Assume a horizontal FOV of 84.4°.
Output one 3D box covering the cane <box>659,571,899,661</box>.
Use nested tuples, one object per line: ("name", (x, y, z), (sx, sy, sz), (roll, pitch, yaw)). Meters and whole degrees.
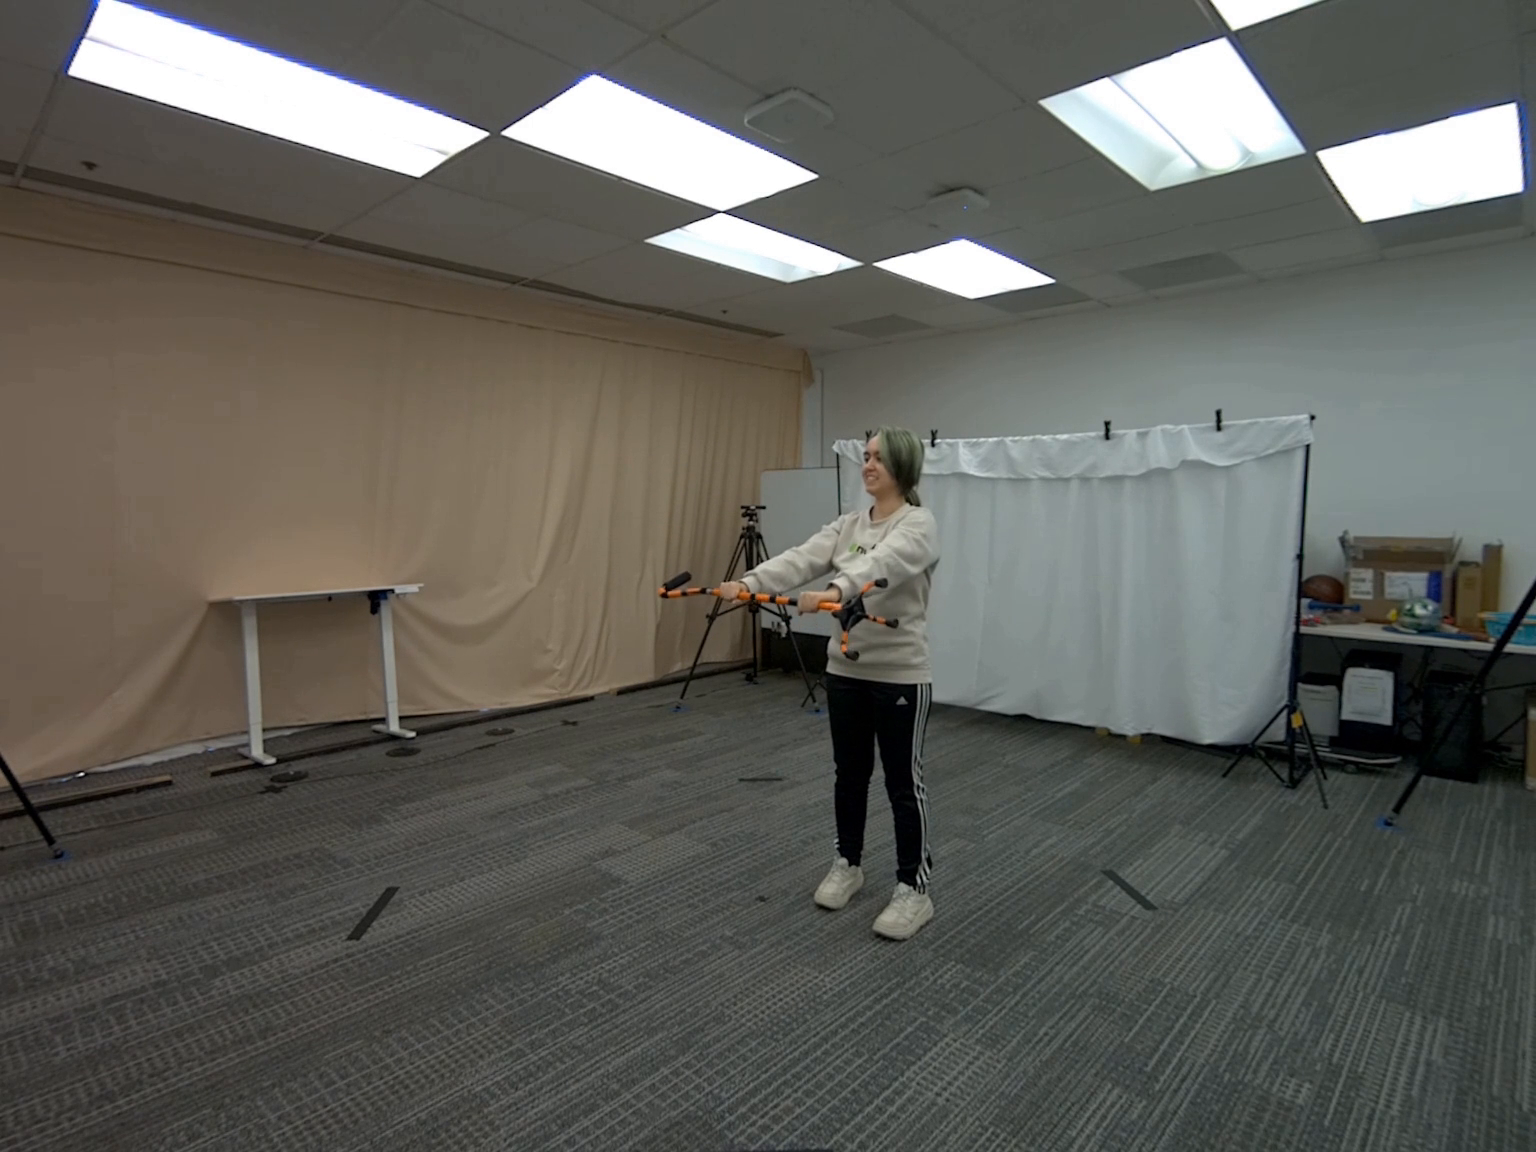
("cane", (-0.037, 0.067, 2.560), (0.203, 0.149, 0.938), (-34, 25, -34))
